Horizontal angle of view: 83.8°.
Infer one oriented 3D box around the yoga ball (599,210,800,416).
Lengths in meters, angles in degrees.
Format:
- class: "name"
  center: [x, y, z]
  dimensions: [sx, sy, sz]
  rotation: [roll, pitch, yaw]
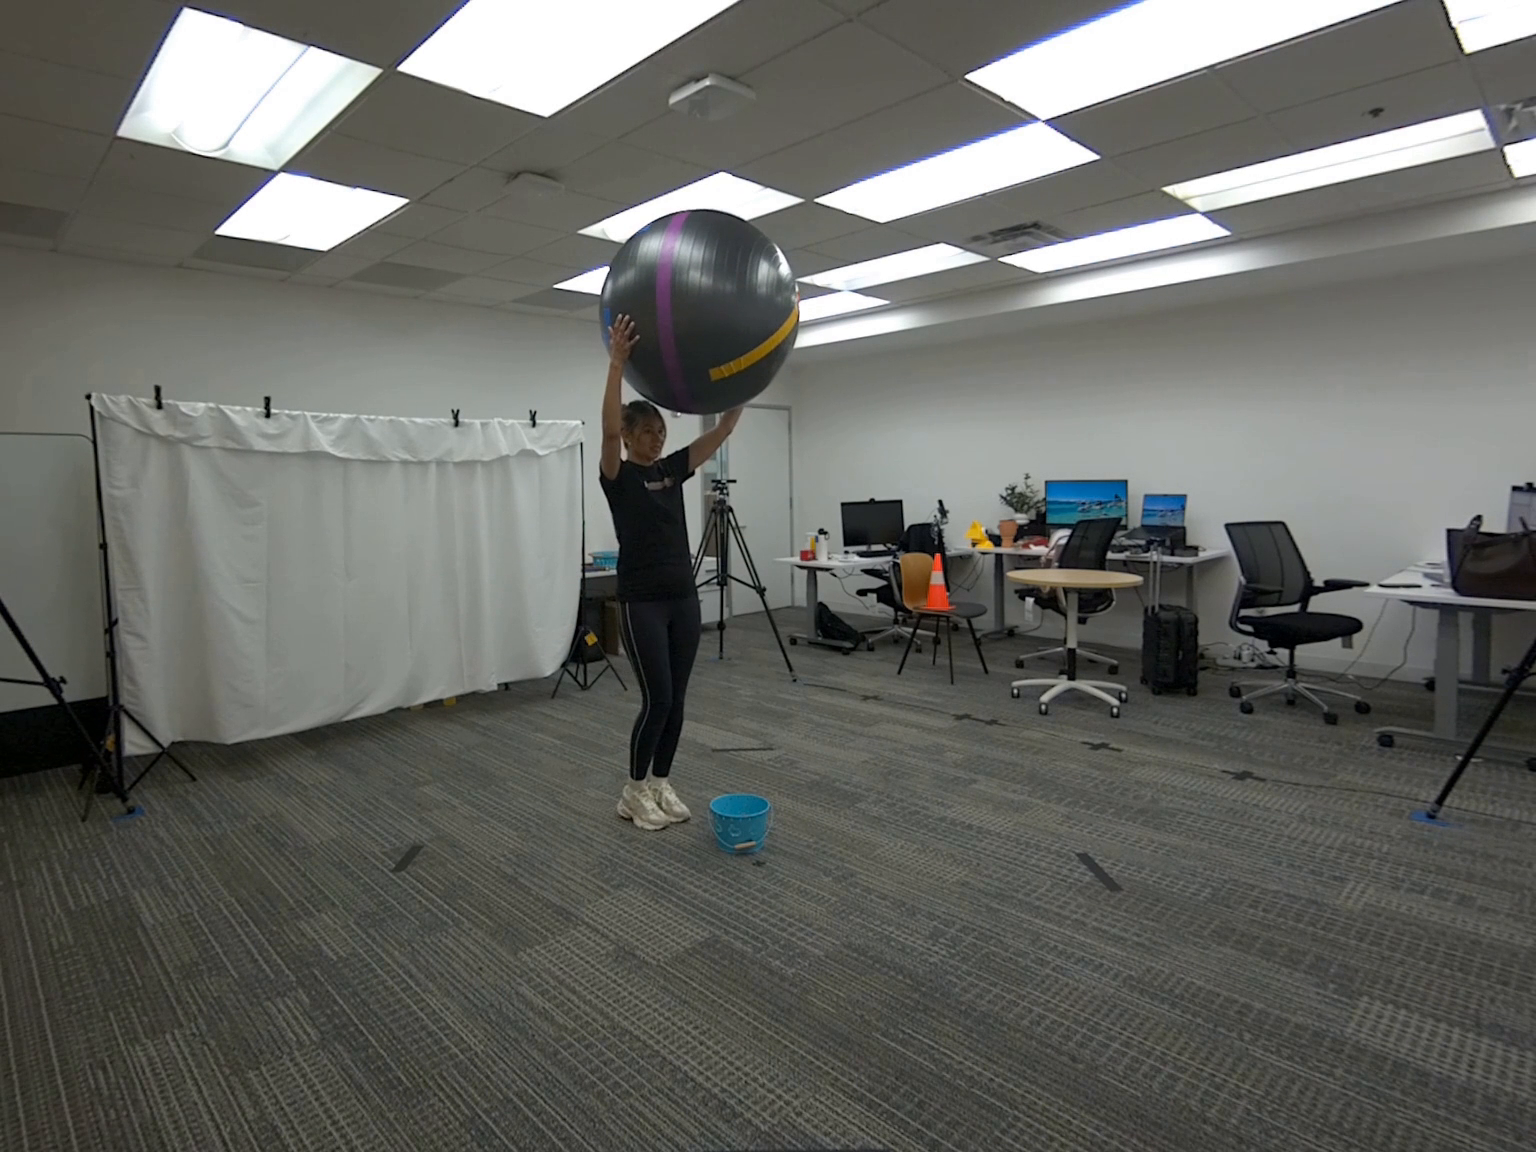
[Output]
- class: "yoga ball"
  center: [-0.257, -0.984, 3.235]
  dimensions: [0.757, 0.755, 0.762]
  rotation: [-1, 5, -2]
